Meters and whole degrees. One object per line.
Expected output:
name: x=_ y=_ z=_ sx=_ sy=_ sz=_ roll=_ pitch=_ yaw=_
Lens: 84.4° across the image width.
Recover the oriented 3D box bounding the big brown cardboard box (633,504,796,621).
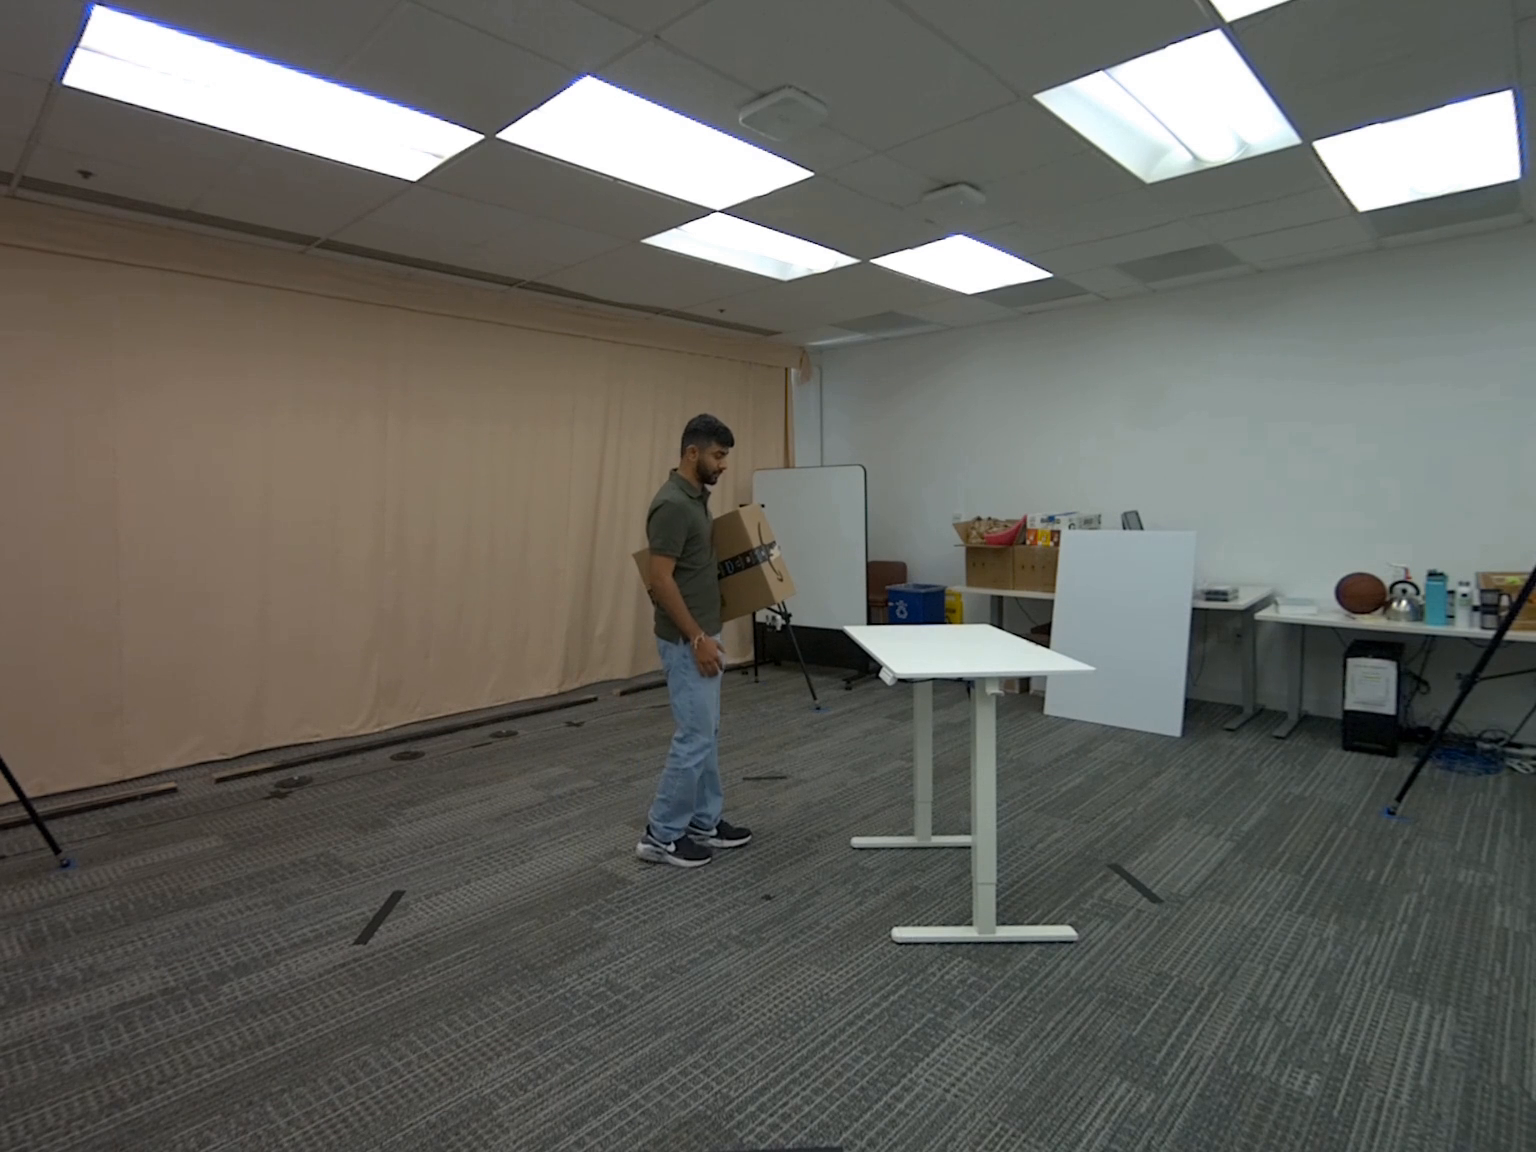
big brown cardboard box: x=-0.237 y=-0.007 z=3.592 sx=0.601 sy=0.418 sz=0.228 roll=-20 pitch=0 yaw=30
